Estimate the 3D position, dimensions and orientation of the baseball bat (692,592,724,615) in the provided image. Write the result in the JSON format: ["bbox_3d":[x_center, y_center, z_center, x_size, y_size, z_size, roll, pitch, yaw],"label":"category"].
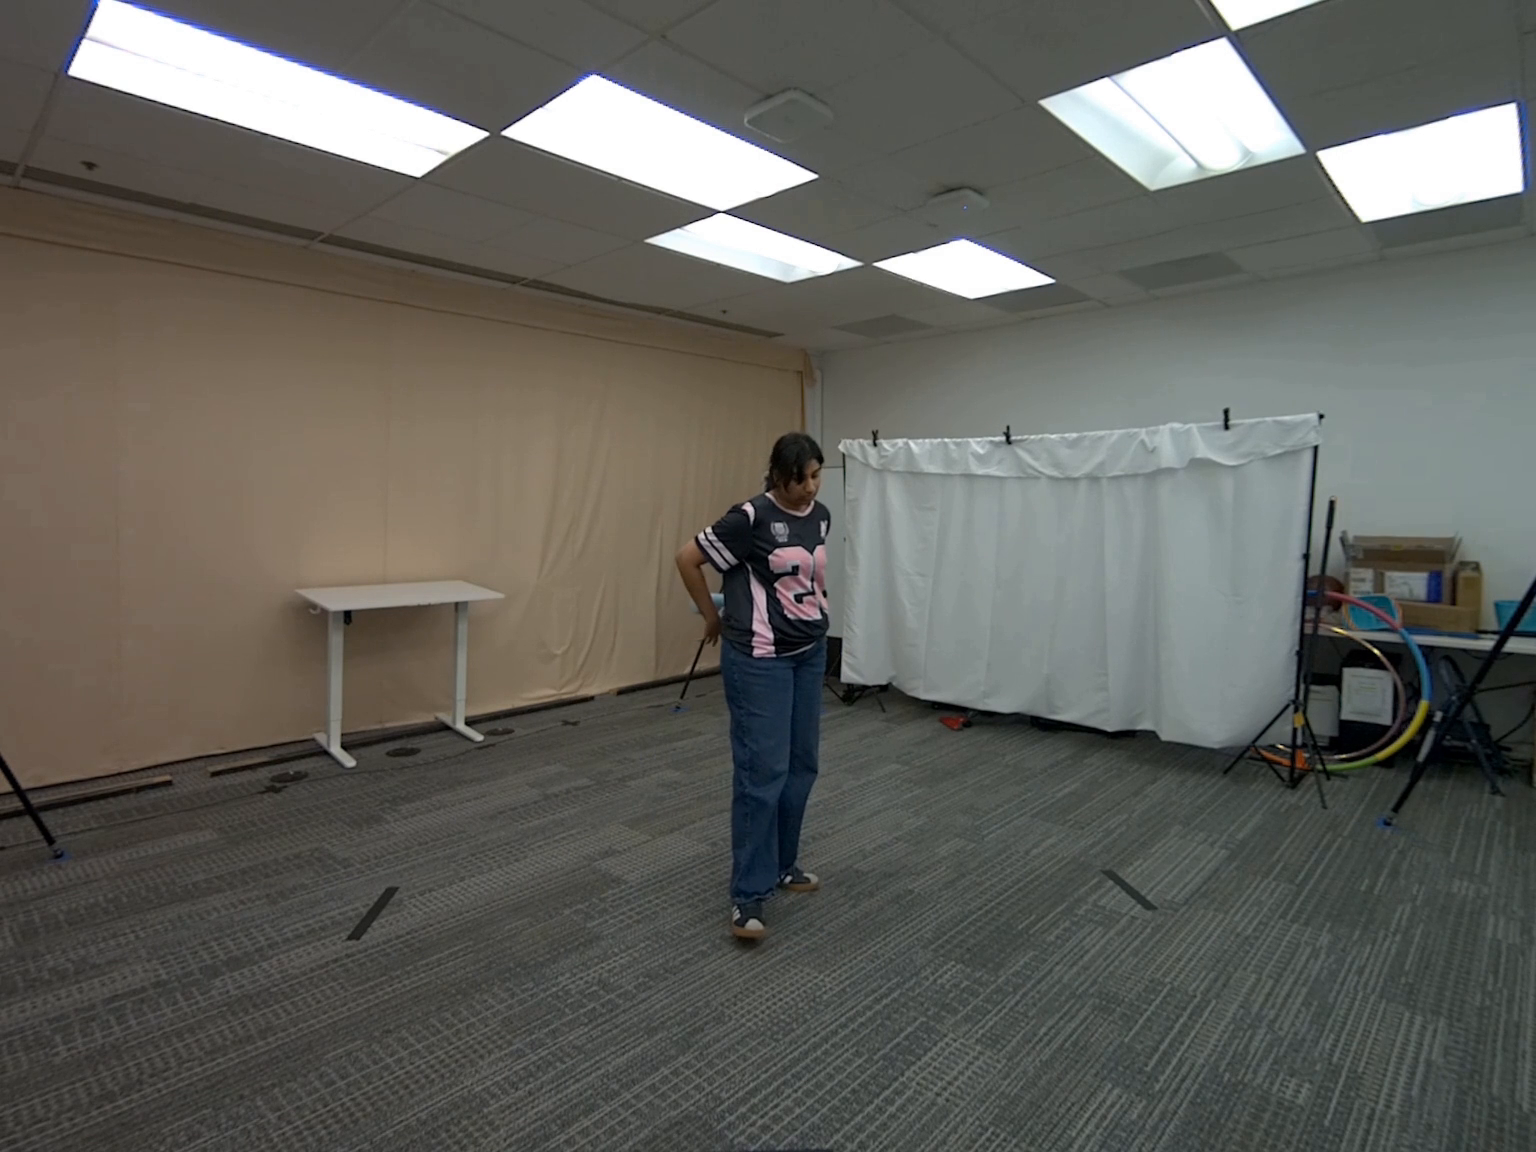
[{"bbox_3d":[-0.043,0.135,3.420,0.527,0.089,0.092,5,0,-32],"label":"baseball bat"}]
